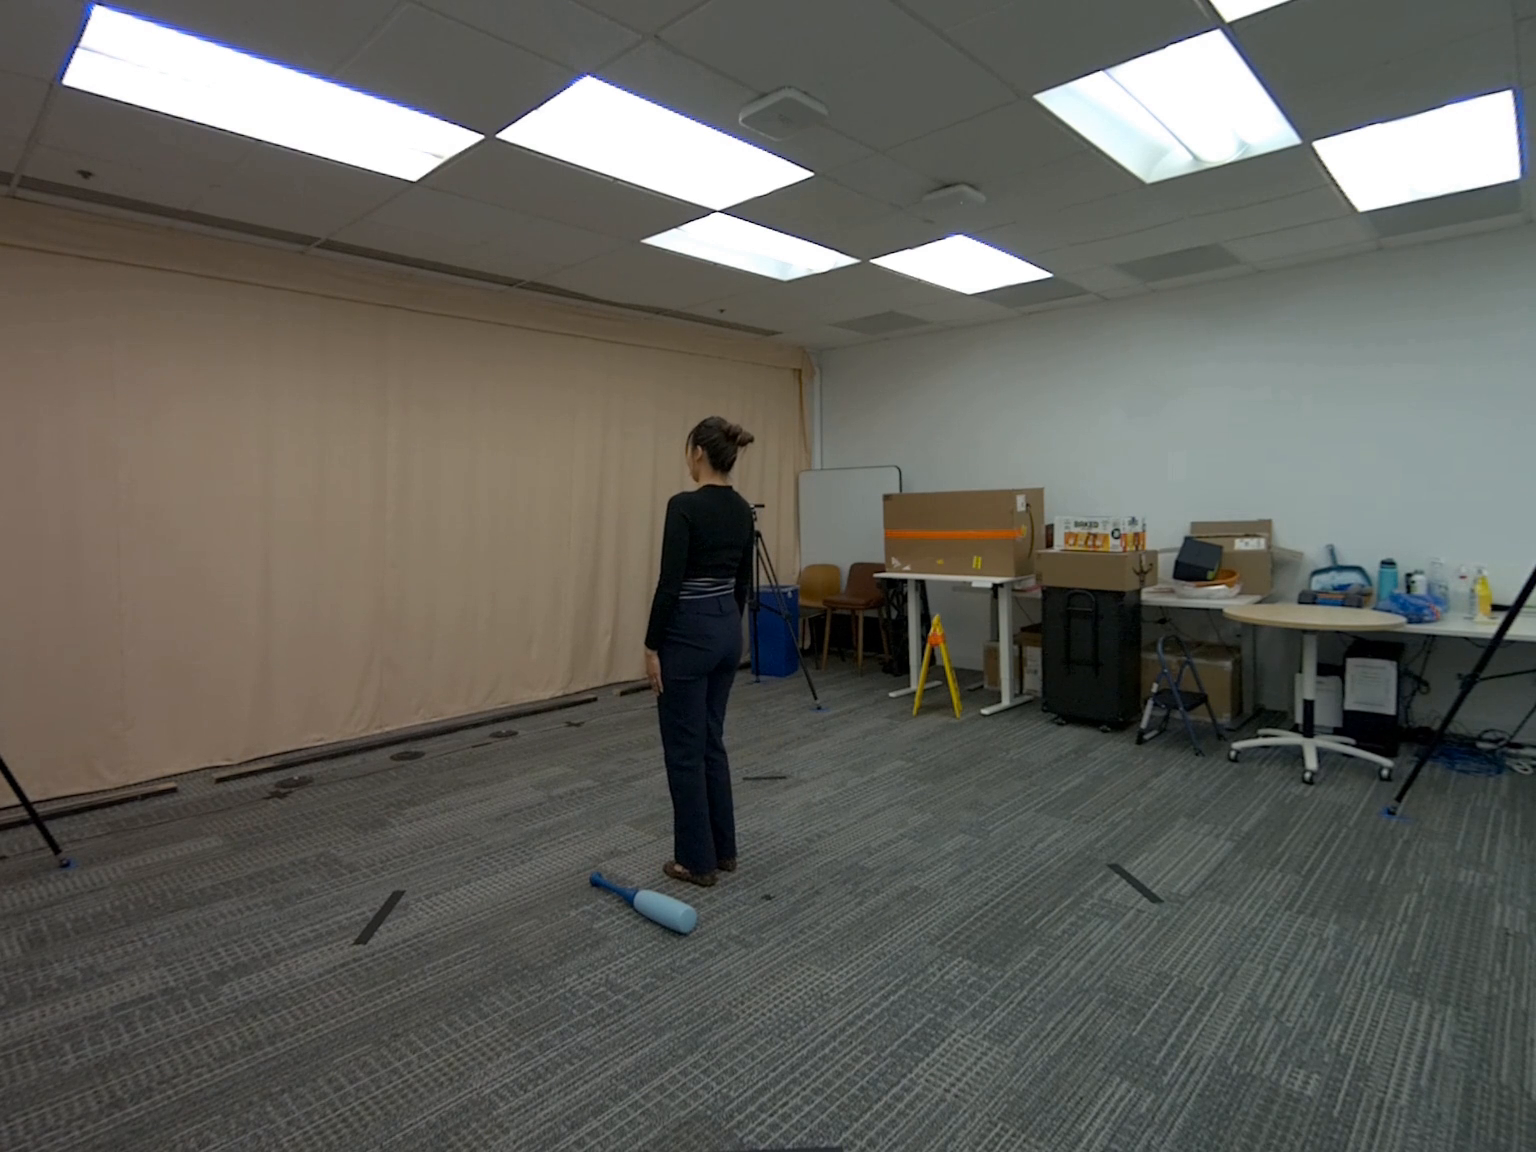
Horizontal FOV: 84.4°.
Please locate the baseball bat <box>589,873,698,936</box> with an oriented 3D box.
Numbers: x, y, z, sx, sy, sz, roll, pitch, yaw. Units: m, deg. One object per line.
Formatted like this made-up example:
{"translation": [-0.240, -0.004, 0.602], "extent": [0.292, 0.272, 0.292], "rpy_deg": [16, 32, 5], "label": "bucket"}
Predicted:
{"translation": [-0.449, 1.121, 2.915], "extent": [0.086, 0.089, 0.560], "rpy_deg": [-5, 2, -44], "label": "baseball bat"}
